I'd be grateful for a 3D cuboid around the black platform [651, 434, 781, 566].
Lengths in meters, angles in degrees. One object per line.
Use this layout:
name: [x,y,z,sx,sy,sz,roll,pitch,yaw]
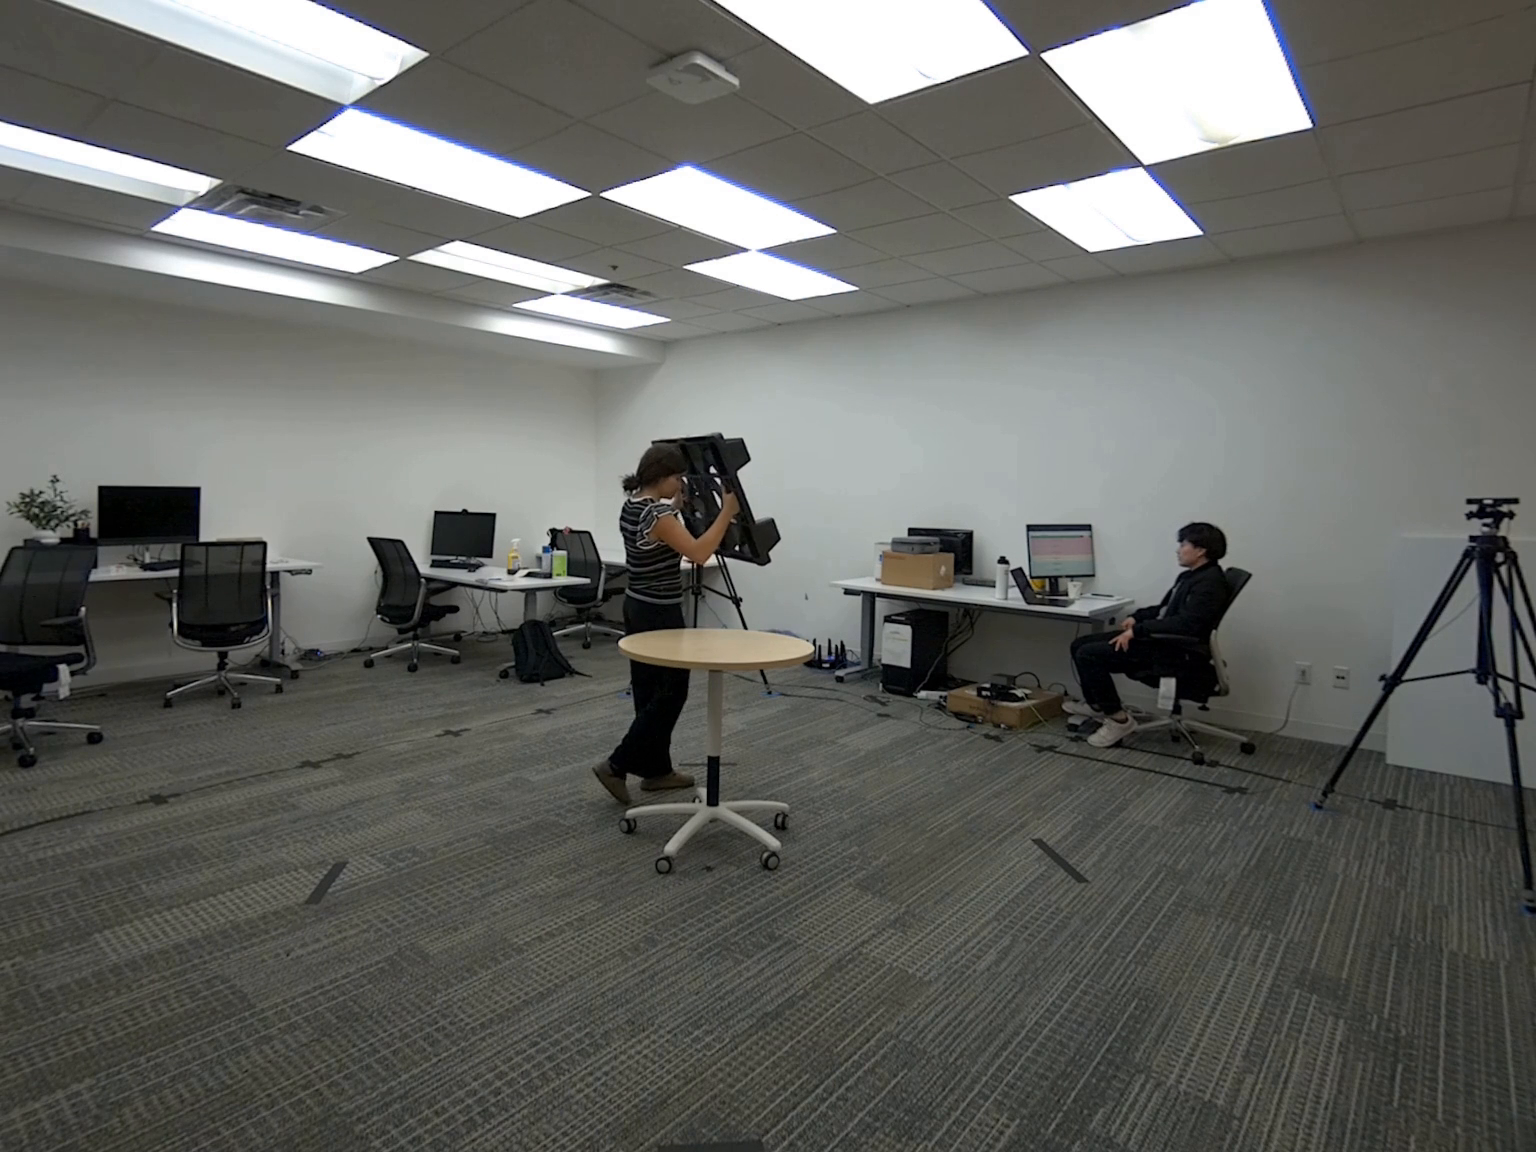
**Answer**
black platform: [-0.257,-0.382,3.912,0.142,0.595,0.828,-25,16,-21]
